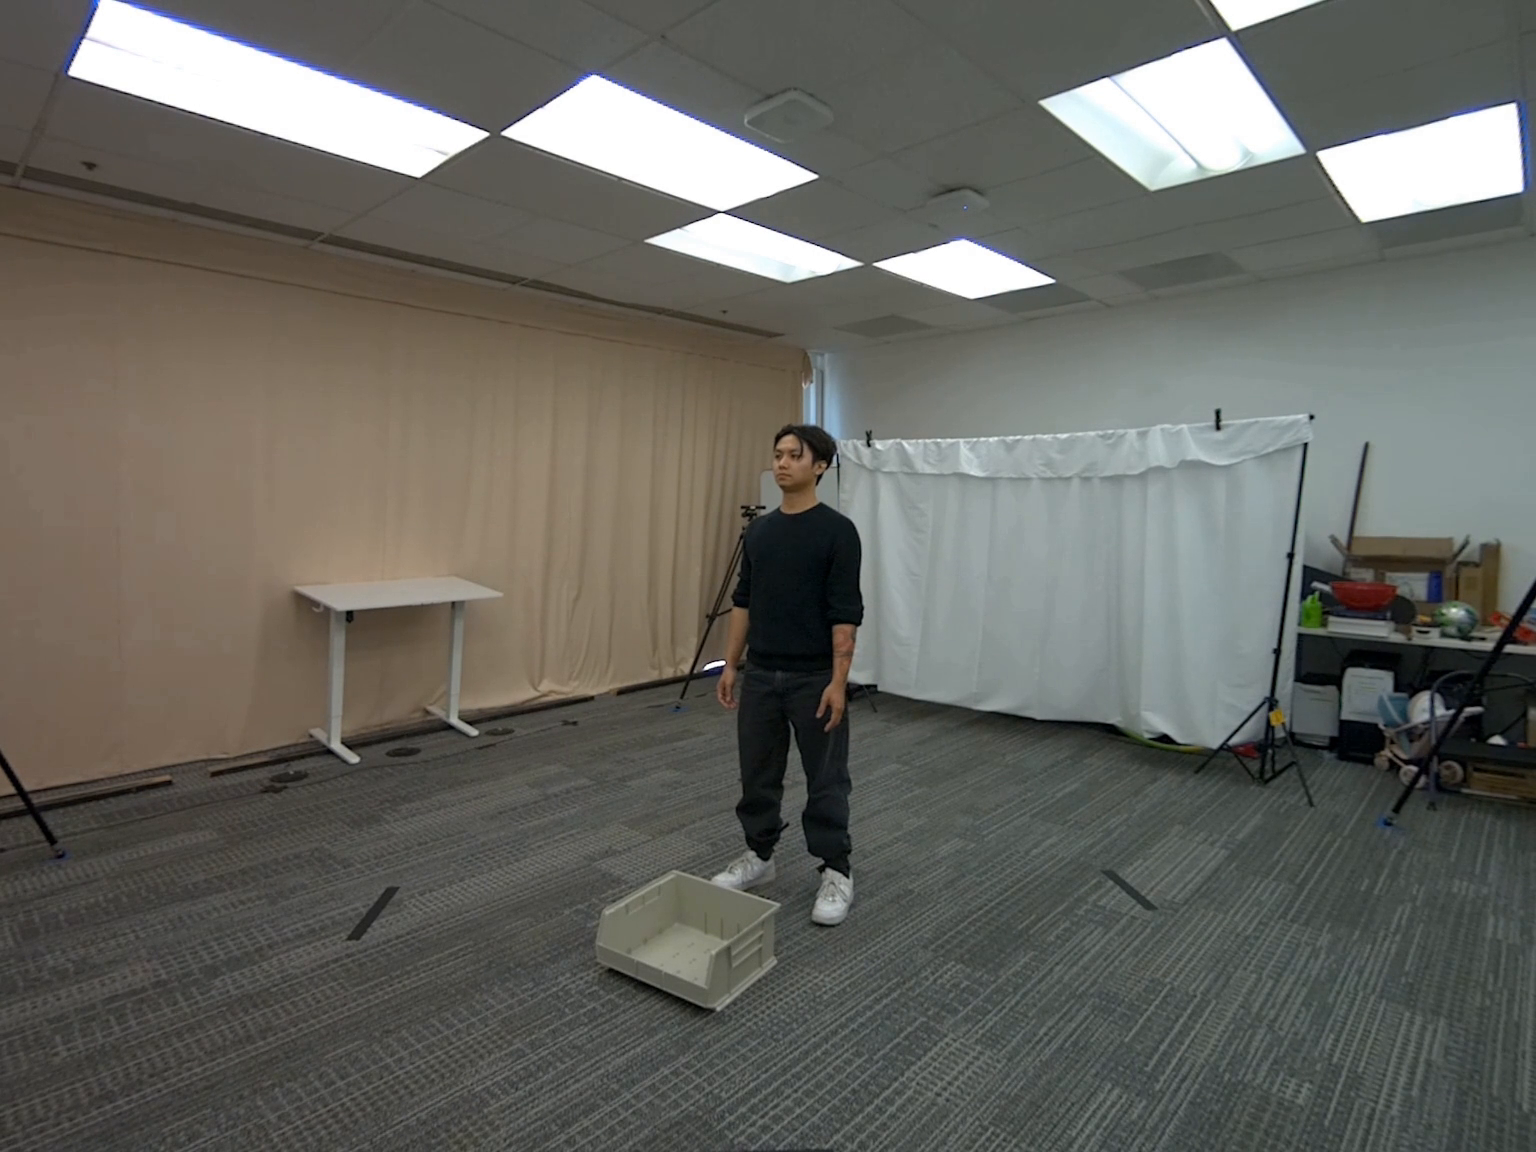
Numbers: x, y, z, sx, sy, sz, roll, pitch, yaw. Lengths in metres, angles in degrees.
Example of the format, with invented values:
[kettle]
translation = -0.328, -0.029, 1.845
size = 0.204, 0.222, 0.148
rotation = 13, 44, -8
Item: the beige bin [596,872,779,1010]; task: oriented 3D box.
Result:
[beige bin]
translation = -0.238, 1.096, 2.536
size = 0.435, 0.188, 0.366
rotation = 2, 4, 34
